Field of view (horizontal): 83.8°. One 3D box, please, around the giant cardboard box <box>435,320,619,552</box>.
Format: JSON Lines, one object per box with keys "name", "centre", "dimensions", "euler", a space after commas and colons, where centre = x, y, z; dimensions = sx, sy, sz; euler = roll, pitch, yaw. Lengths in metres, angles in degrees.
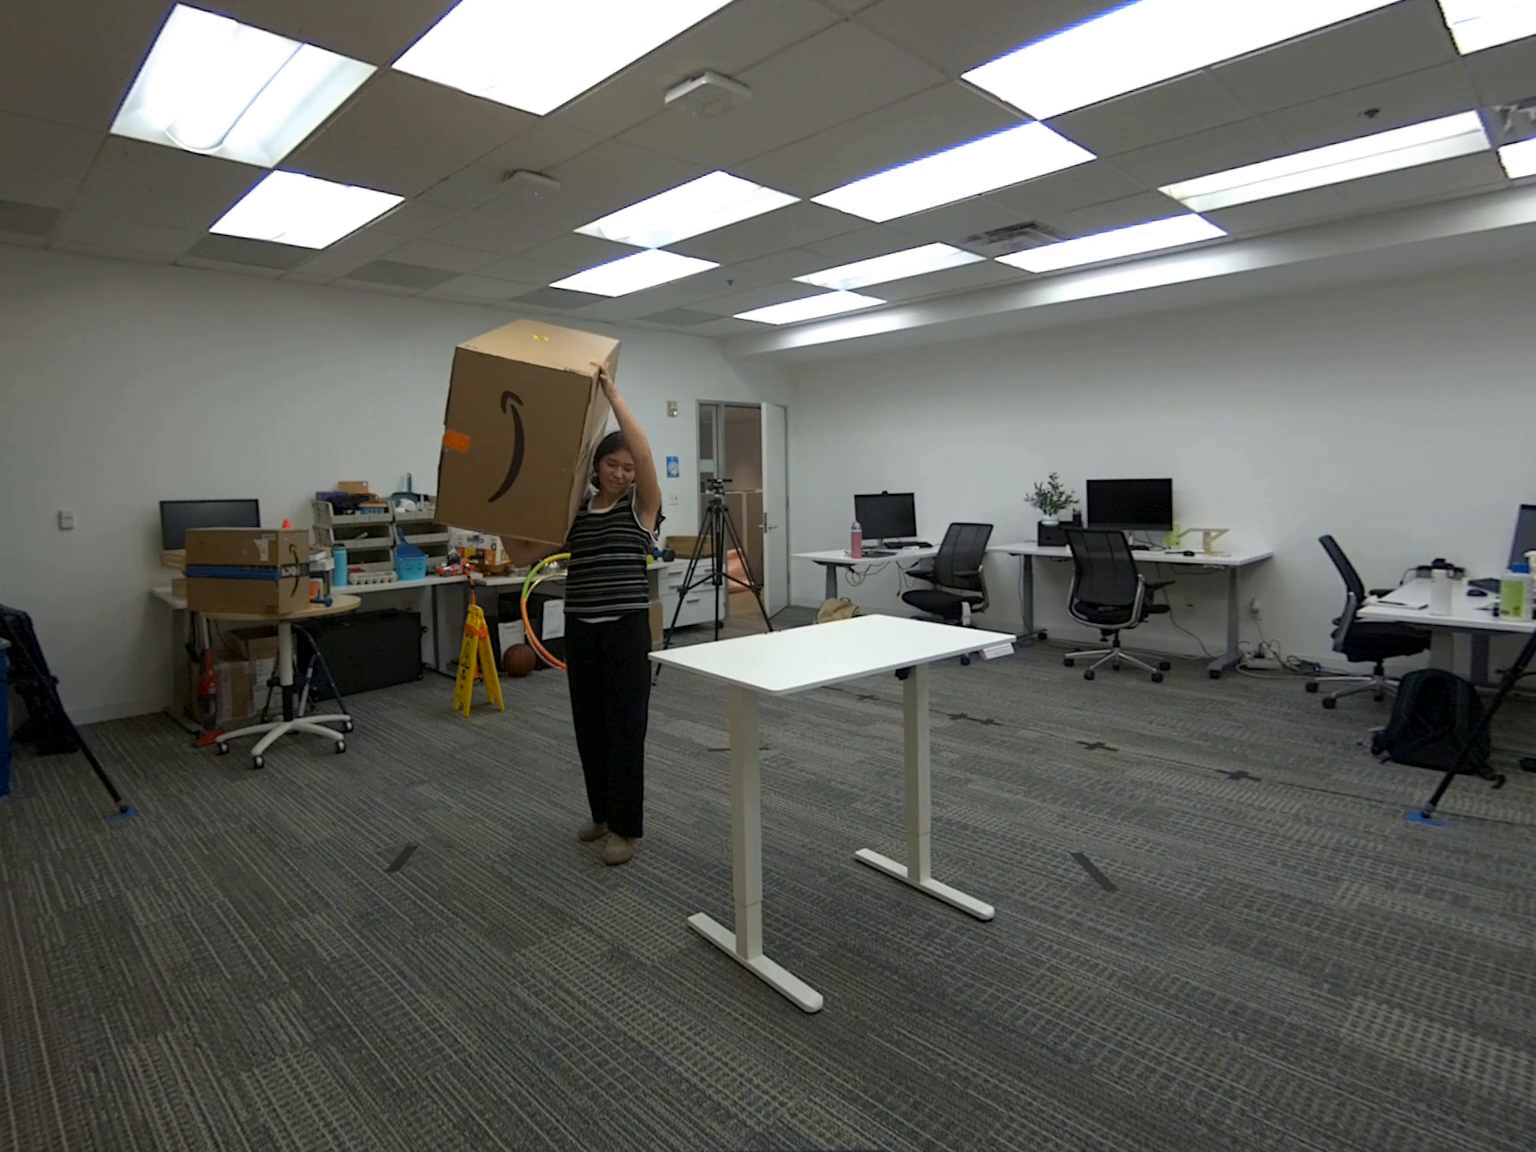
{"name": "giant cardboard box", "centre": [-0.851, -0.575, 3.166], "dimensions": [0.423, 0.571, 1.046], "euler": [12, 20, -8]}
